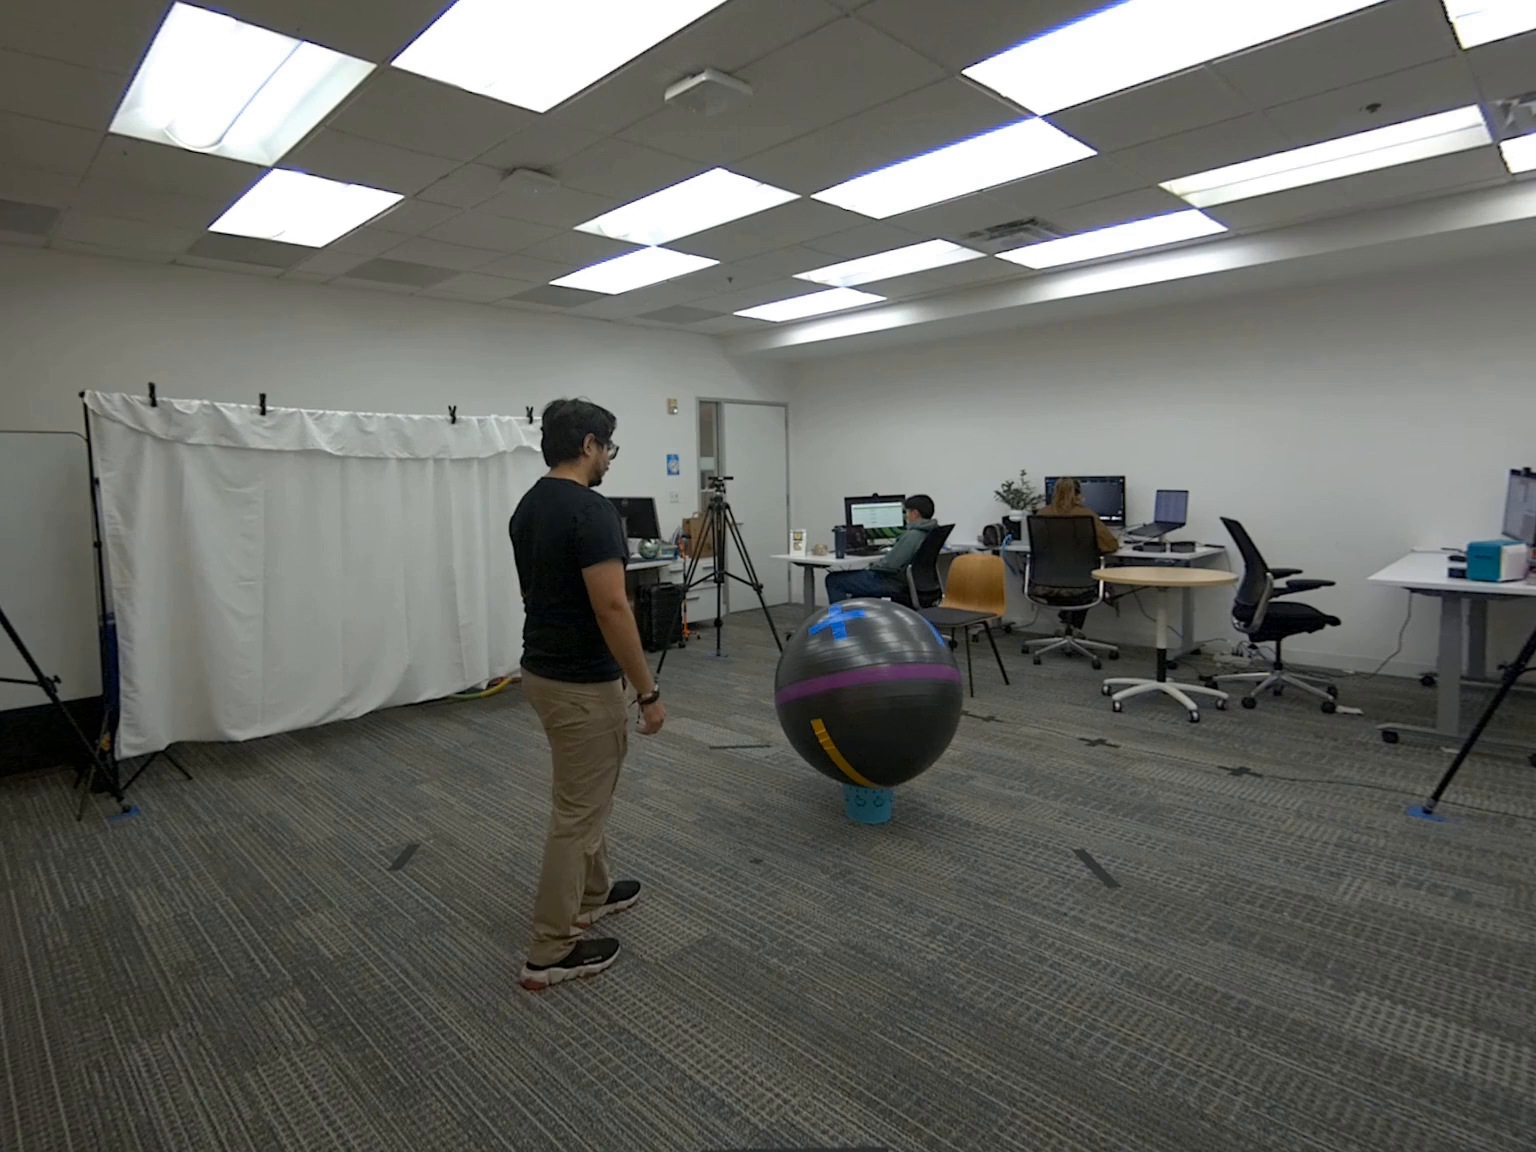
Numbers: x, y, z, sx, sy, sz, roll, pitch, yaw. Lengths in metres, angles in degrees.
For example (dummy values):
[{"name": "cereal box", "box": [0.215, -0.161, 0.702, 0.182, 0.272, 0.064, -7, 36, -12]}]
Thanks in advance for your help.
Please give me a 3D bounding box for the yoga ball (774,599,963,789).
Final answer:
[{"name": "yoga ball", "box": [0.402, 0.474, 3.503, 0.757, 0.755, 0.762, -1, 5, -2]}]
